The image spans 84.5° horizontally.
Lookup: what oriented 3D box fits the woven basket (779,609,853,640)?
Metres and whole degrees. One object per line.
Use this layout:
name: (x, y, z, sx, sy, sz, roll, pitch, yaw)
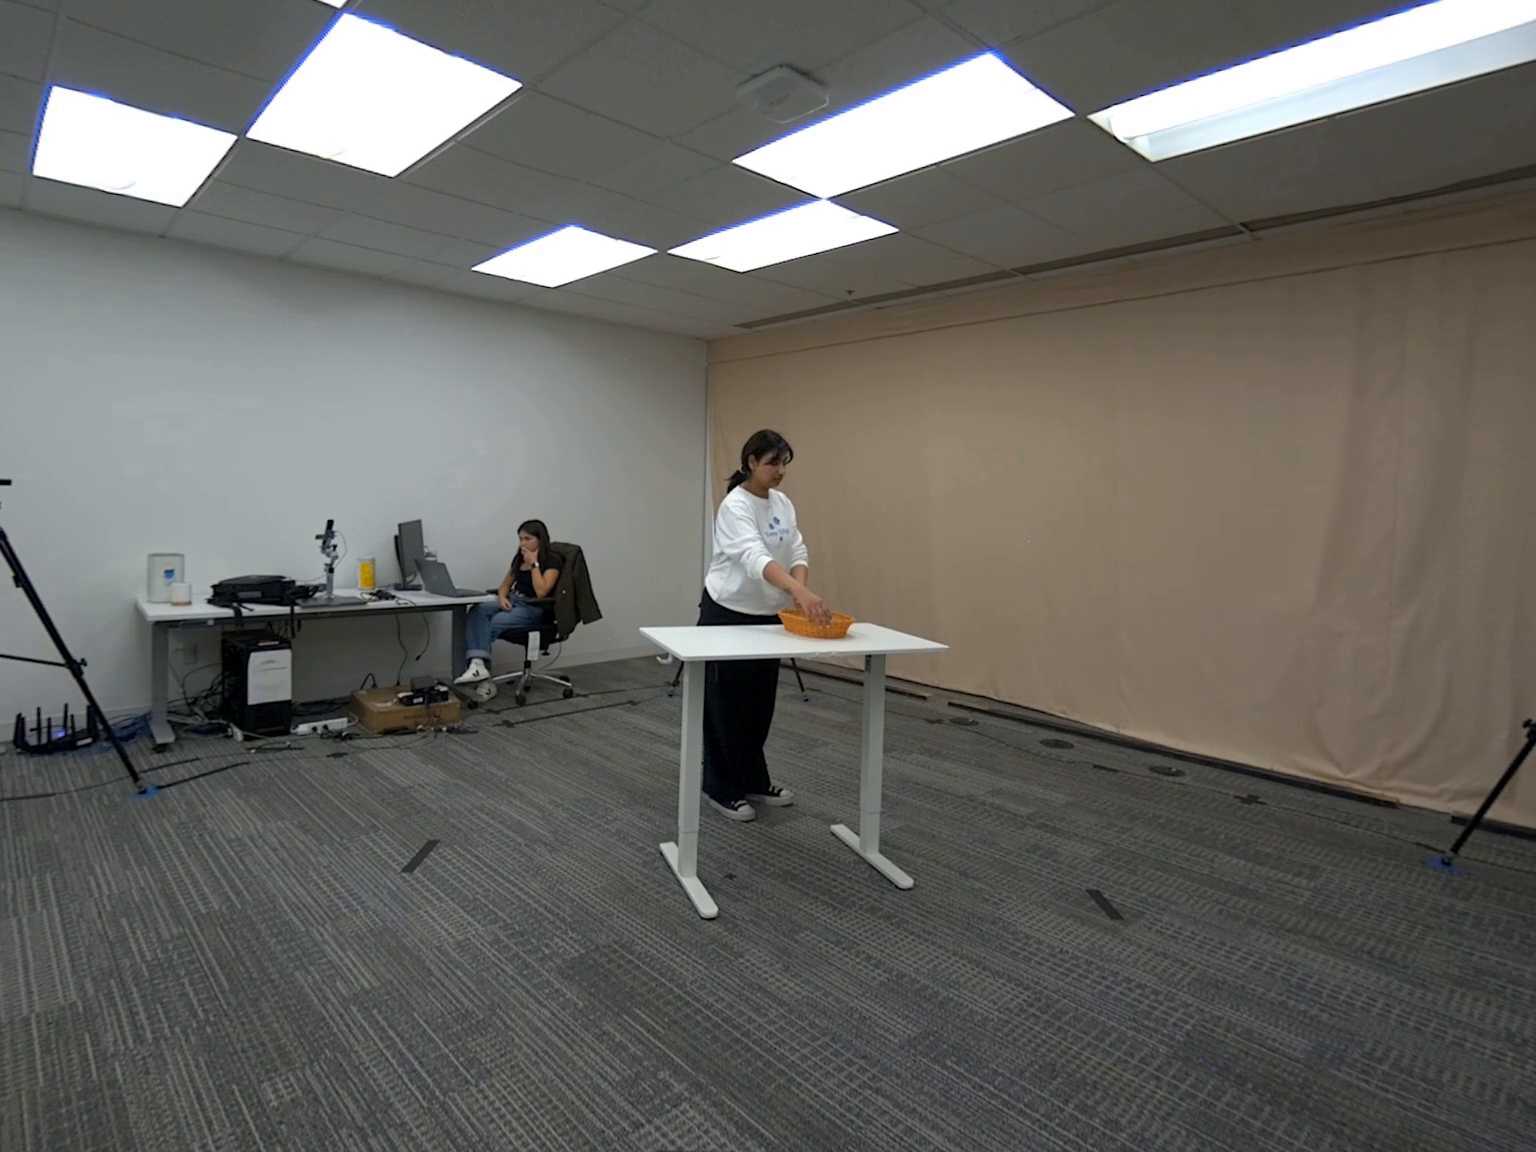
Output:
woven basket: (0.169, 0.189, 3.251, 0.247, 0.073, 0.358, 0, 5, -29)
